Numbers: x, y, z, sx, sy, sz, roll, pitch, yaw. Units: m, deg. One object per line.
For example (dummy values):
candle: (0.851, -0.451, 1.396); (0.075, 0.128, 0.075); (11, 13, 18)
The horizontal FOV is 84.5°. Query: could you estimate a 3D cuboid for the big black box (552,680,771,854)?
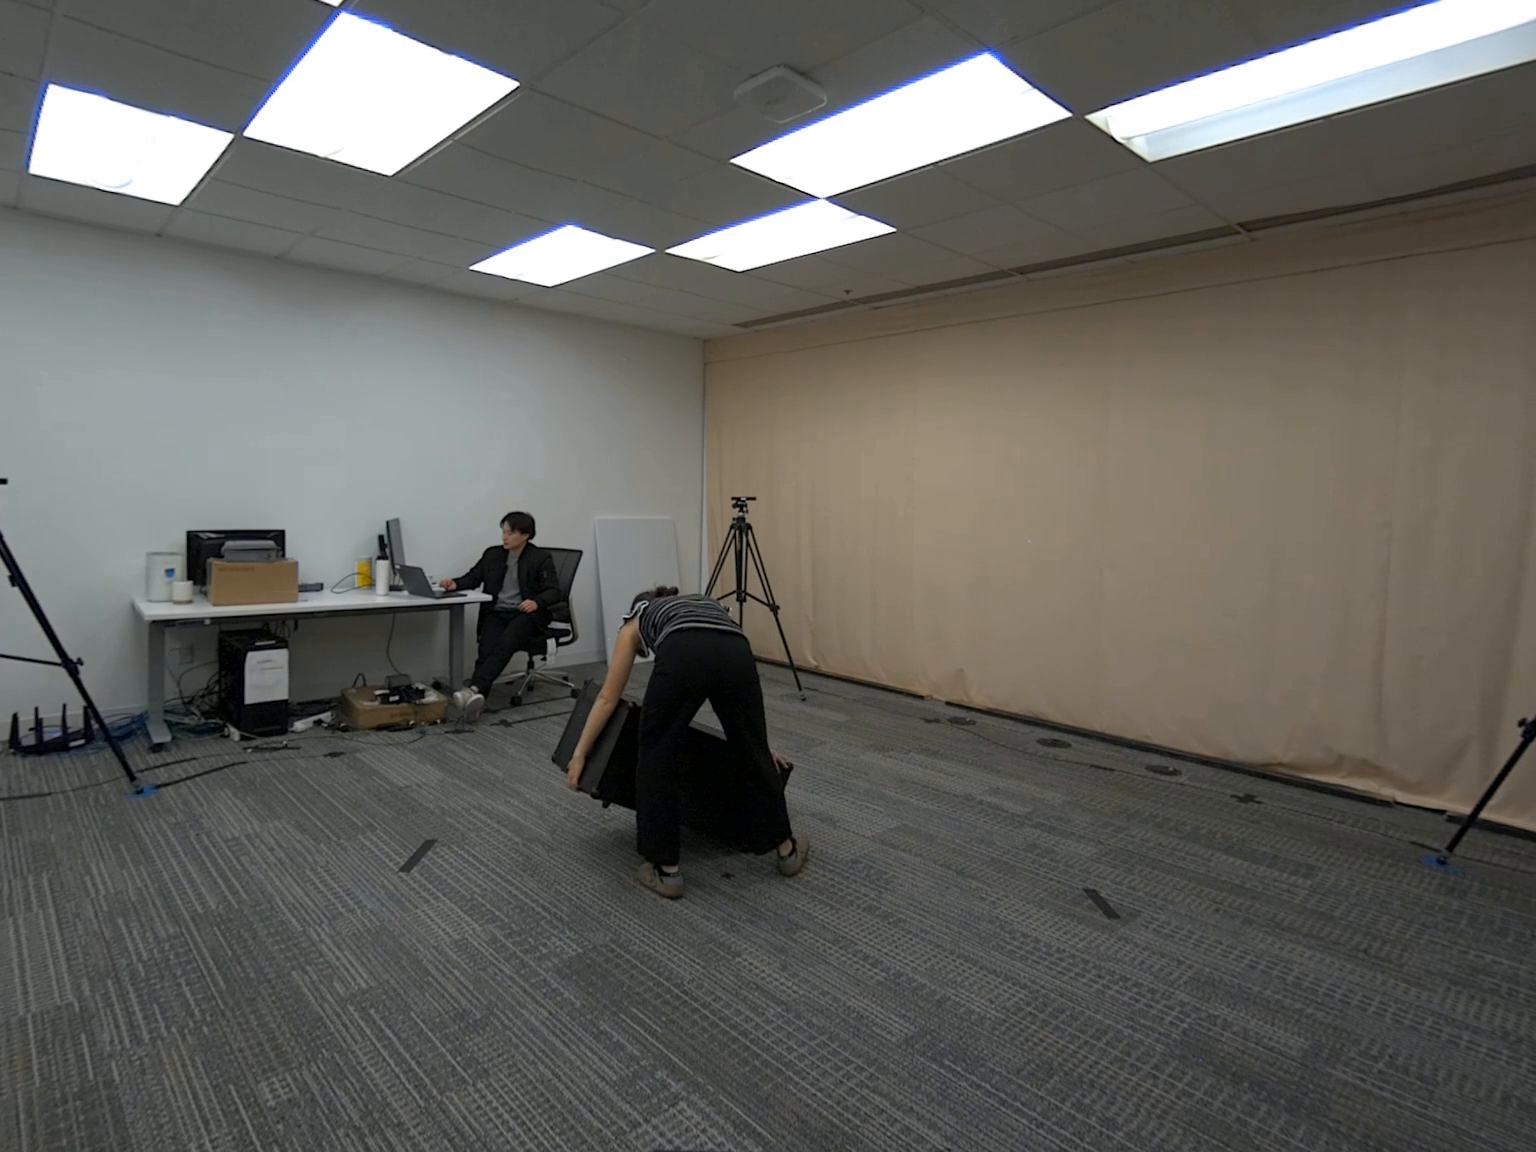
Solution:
big black box: (-0.372, 0.775, 3.410); (0.839, 0.397, 0.533); (27, -9, -29)
